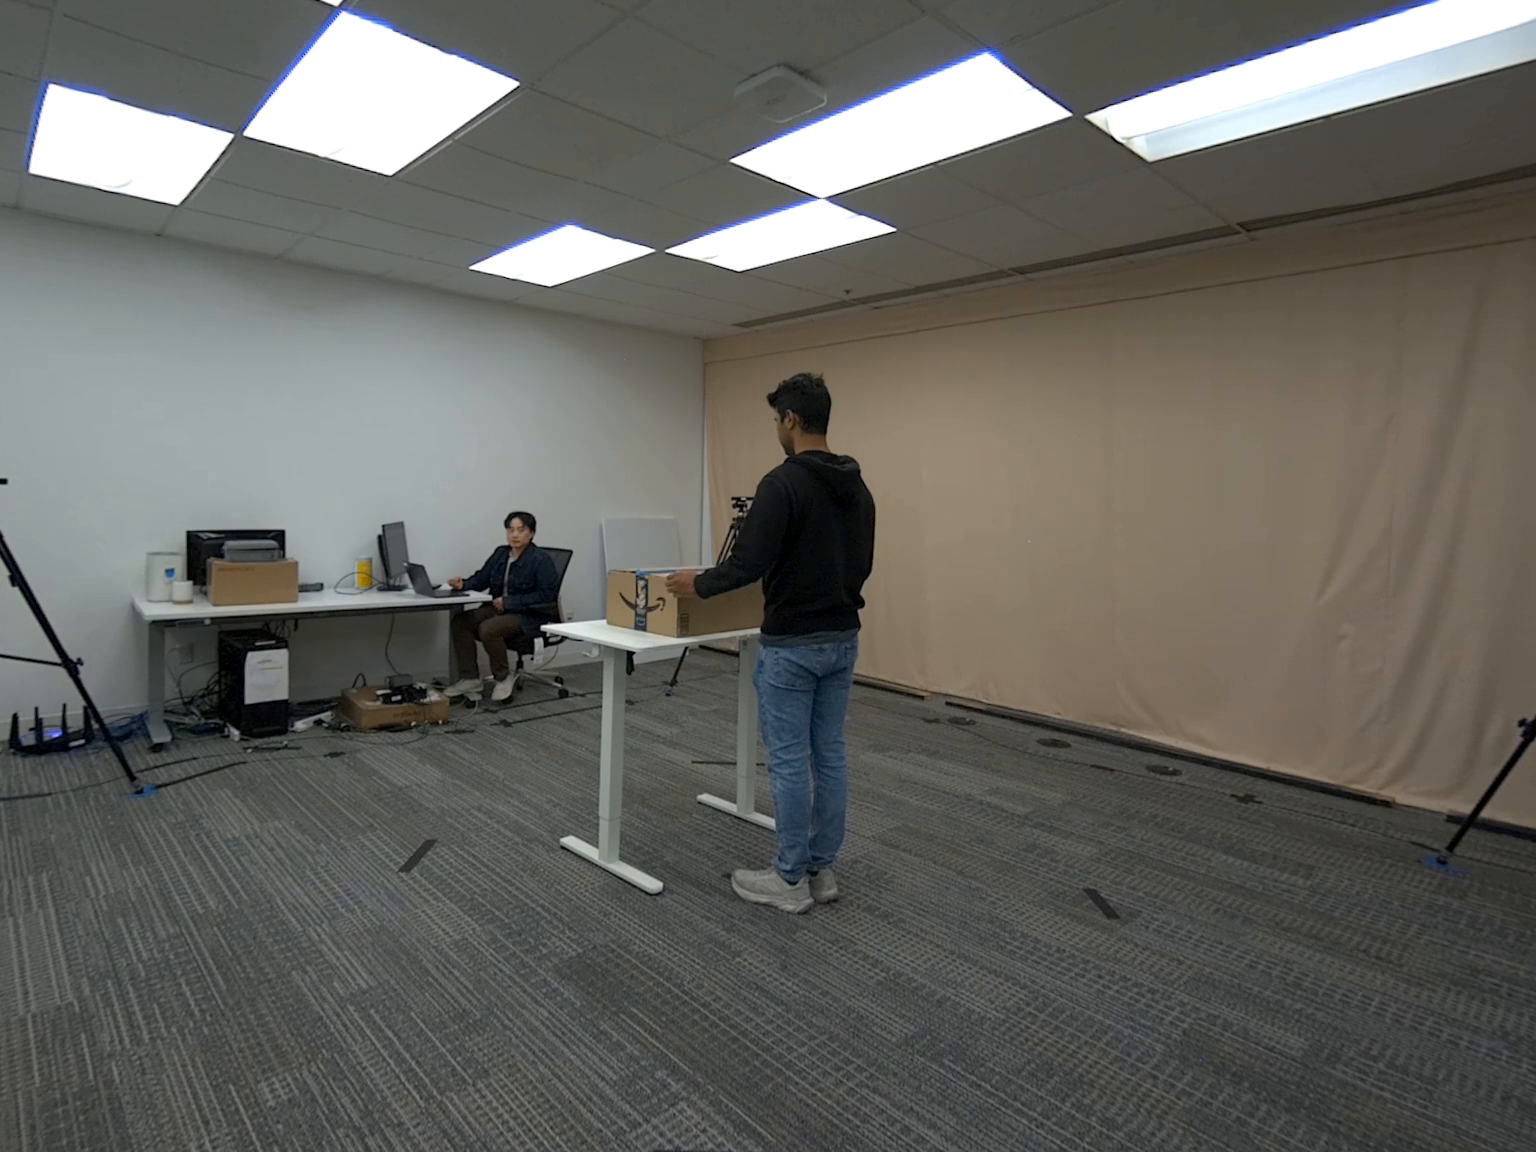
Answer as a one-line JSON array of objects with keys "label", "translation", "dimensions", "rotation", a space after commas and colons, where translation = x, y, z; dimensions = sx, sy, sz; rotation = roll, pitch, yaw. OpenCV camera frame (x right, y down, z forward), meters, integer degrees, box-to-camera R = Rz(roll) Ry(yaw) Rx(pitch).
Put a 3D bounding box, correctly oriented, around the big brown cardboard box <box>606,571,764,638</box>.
[{"label": "big brown cardboard box", "translation": [-0.302, 0.088, 3.376], "dimensions": [0.428, 0.232, 0.575], "rotation": [6, 5, 41]}]
